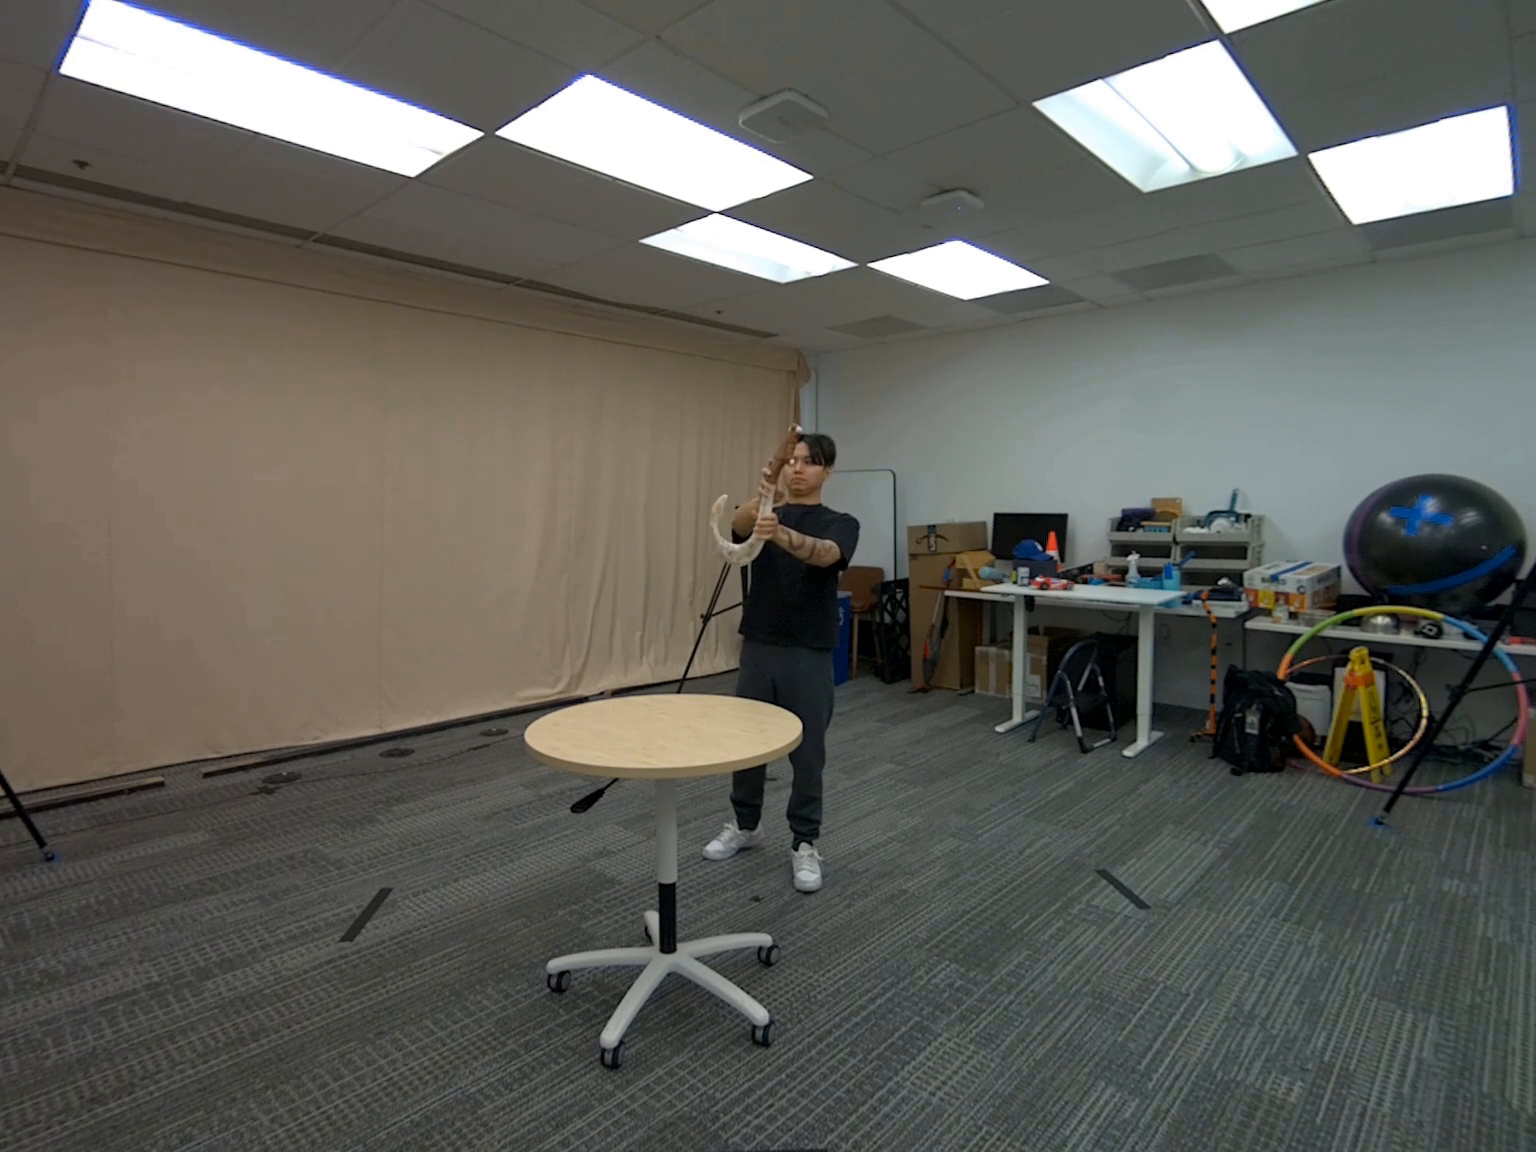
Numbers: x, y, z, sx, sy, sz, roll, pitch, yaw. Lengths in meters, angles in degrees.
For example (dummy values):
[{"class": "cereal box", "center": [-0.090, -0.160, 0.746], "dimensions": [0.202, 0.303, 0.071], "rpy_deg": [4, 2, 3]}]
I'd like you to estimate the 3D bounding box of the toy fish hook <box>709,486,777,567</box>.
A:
[{"class": "toy fish hook", "center": [-0.053, -0.271, 2.712], "dimensions": [0.231, 0.505, 0.047], "rpy_deg": [29, 16, 24]}]
